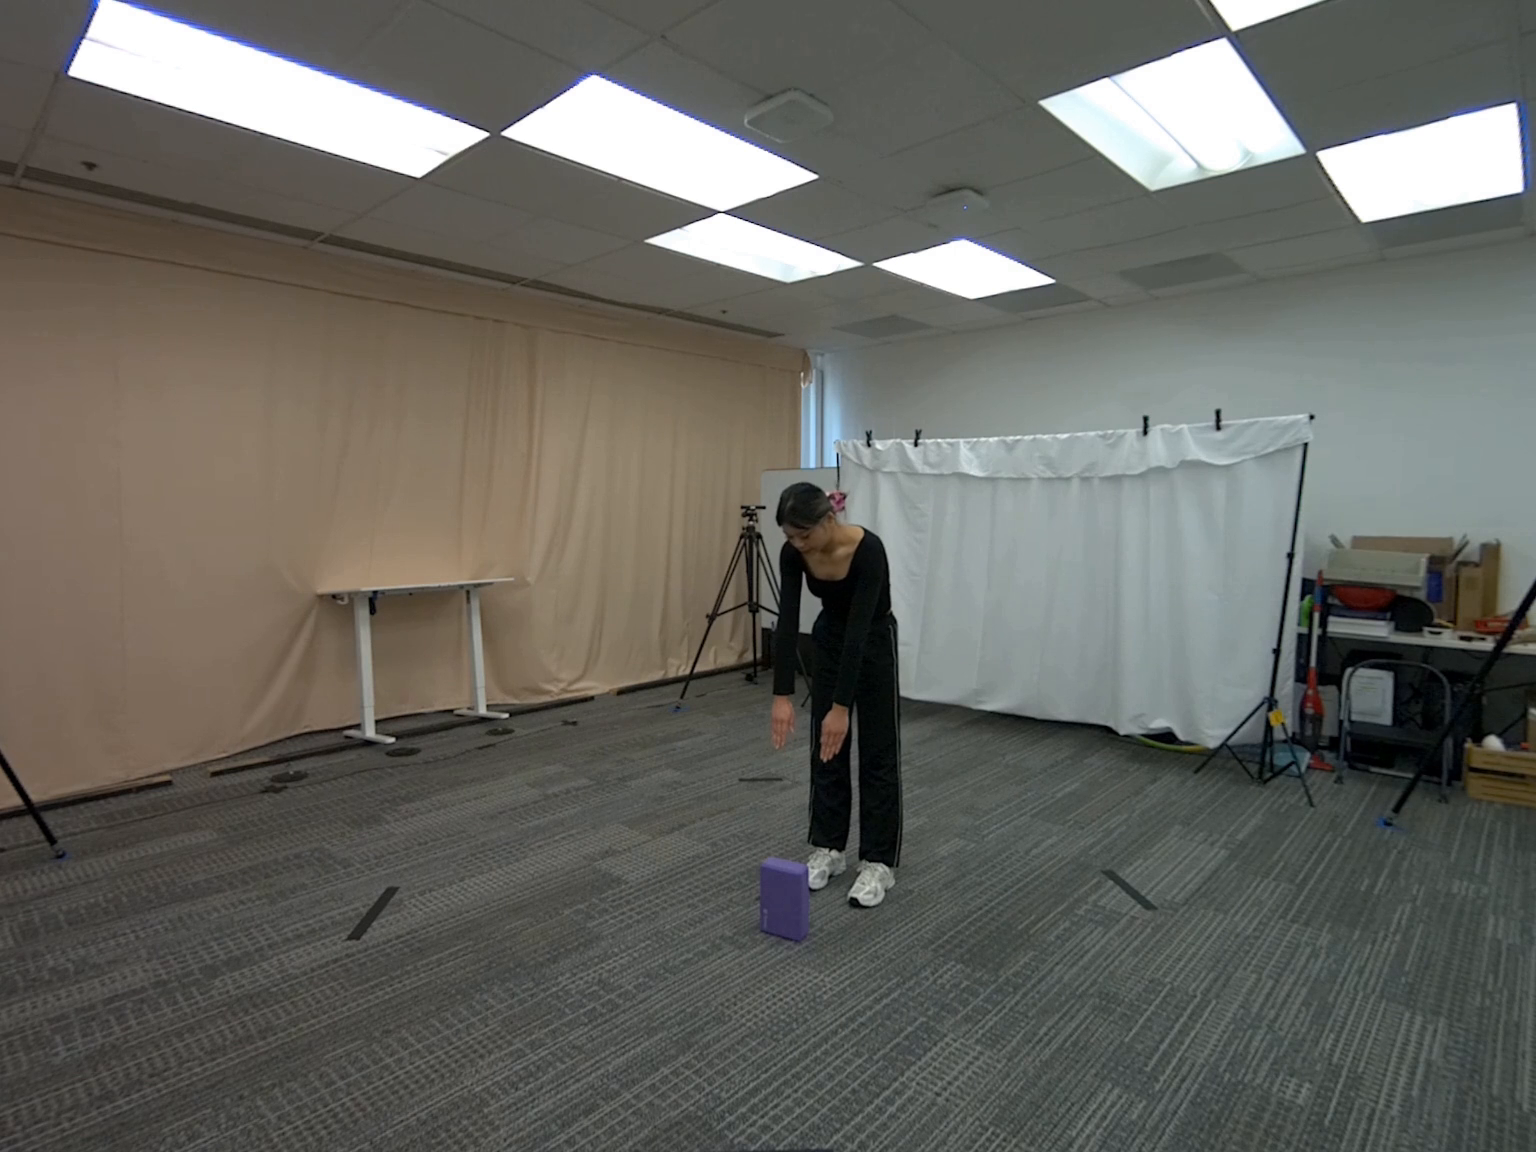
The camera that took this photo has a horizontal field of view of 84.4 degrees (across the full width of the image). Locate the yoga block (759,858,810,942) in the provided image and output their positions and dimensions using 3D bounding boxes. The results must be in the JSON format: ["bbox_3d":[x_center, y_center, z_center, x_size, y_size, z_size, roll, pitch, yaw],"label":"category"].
[{"bbox_3d":[0.058,1.049,2.737,0.153,0.229,0.074,3,4,28],"label":"yoga block"}]
